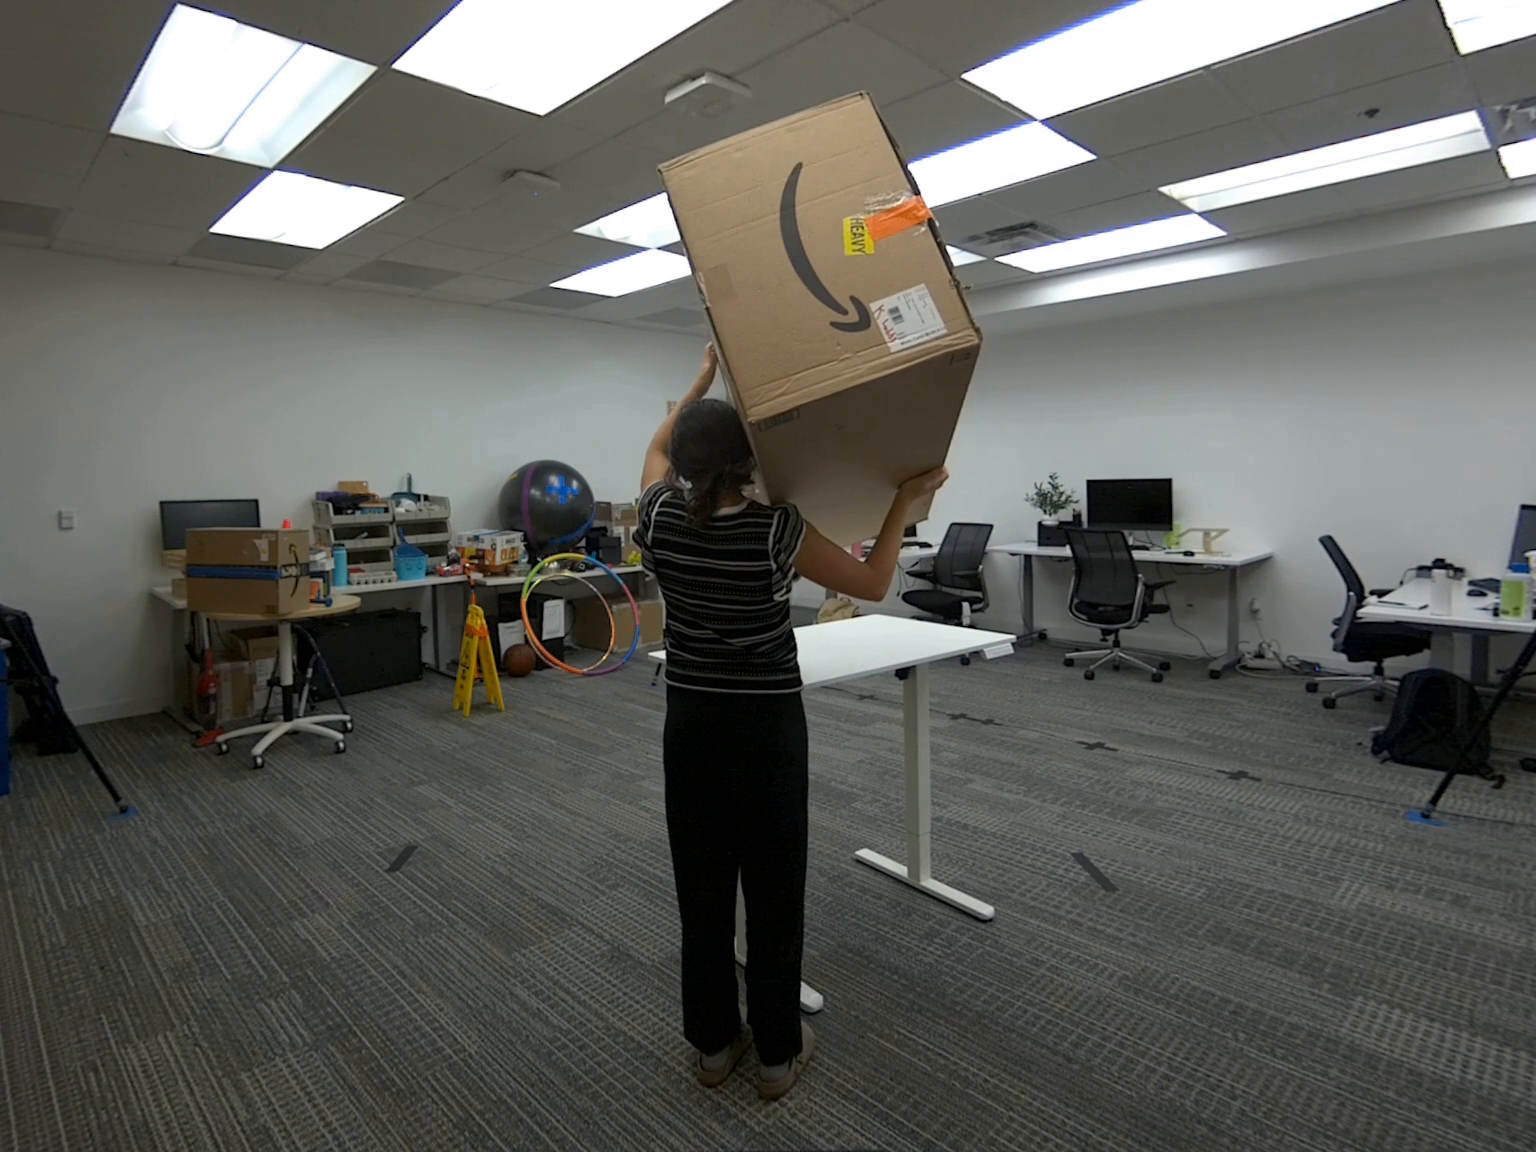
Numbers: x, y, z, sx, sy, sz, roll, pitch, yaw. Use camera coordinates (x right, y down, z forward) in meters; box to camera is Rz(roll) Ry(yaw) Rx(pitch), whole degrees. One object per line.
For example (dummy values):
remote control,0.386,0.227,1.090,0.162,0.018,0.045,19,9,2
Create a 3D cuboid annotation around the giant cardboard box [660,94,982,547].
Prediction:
giant cardboard box,0.131,-0.474,2.010,0.427,0.589,1.005,-19,-15,1
